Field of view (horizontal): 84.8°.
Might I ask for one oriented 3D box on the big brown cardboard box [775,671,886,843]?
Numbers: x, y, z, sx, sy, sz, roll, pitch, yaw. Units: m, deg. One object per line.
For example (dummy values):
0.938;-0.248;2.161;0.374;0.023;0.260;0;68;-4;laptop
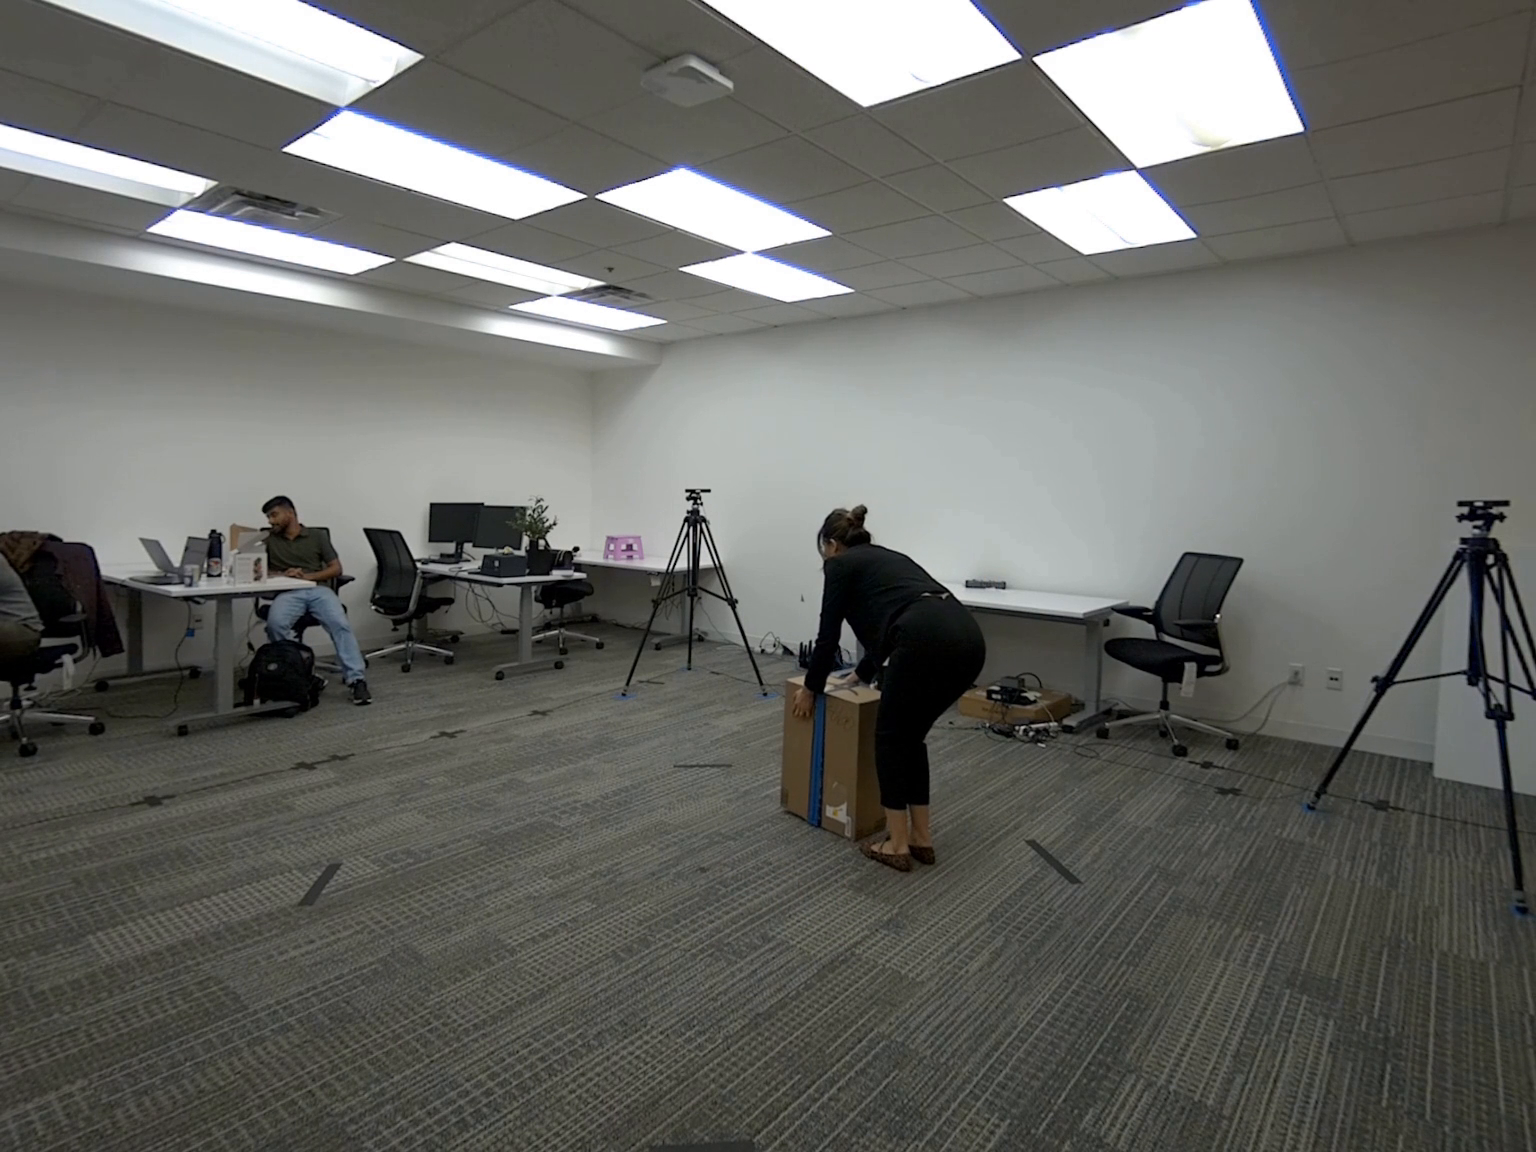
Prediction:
0.270;0.744;3.584;0.226;0.586;0.432;-2;6;-42;big brown cardboard box
